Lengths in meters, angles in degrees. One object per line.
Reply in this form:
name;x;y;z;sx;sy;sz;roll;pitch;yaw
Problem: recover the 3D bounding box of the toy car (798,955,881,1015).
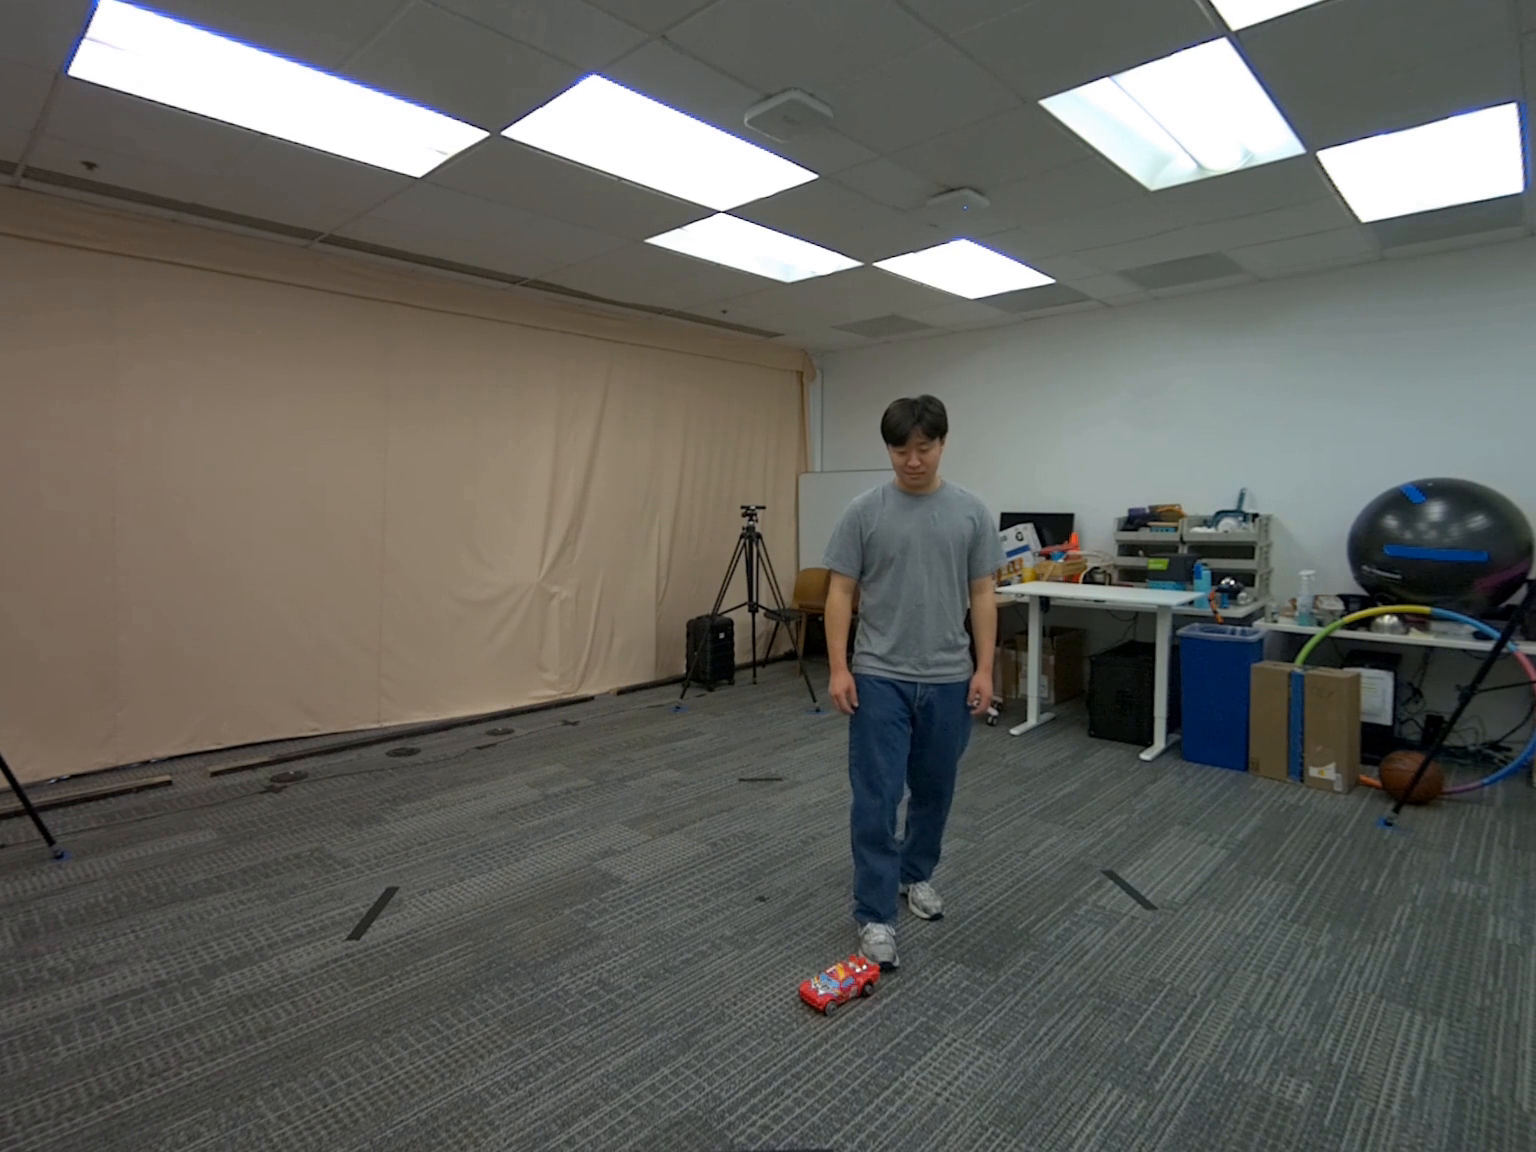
toy car;0.215;1.162;2.387;0.248;0.082;0.134;-16;13;-36
